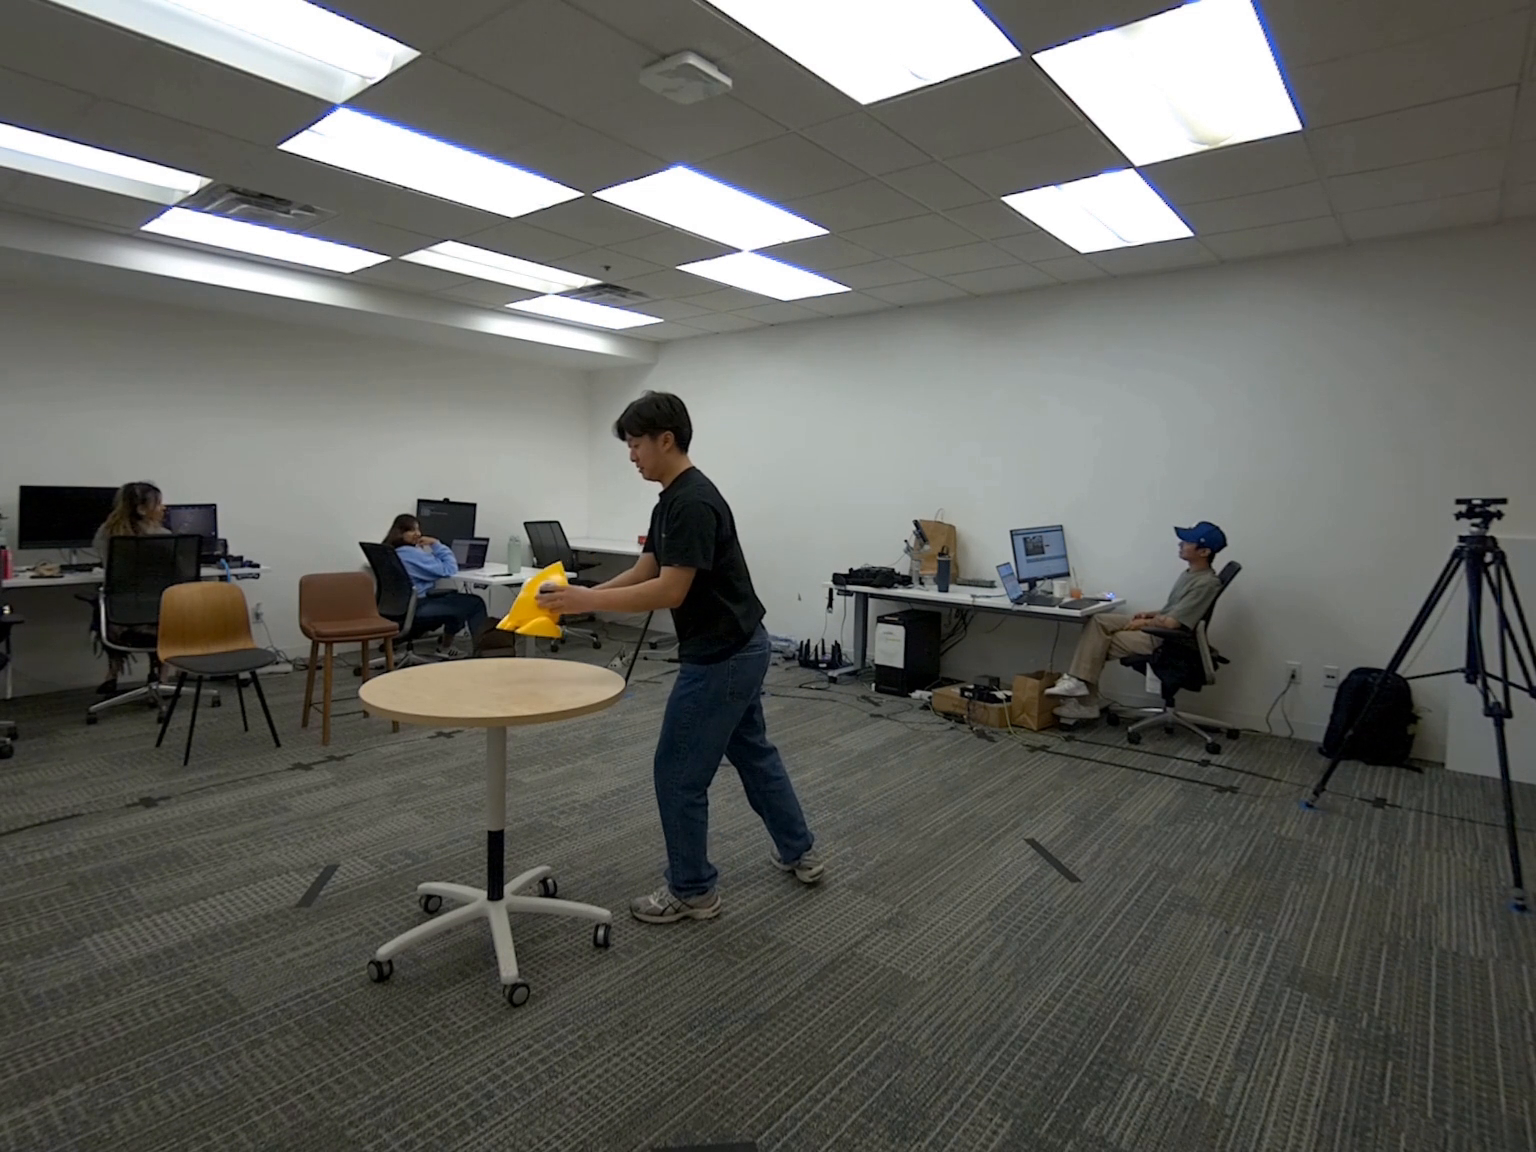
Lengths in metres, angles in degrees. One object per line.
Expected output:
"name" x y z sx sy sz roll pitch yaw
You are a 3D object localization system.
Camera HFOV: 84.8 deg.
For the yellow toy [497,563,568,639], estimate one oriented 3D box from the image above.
"yellow toy" -0.713 0.060 2.642 0.212 0.231 0.186 4 -3 45
